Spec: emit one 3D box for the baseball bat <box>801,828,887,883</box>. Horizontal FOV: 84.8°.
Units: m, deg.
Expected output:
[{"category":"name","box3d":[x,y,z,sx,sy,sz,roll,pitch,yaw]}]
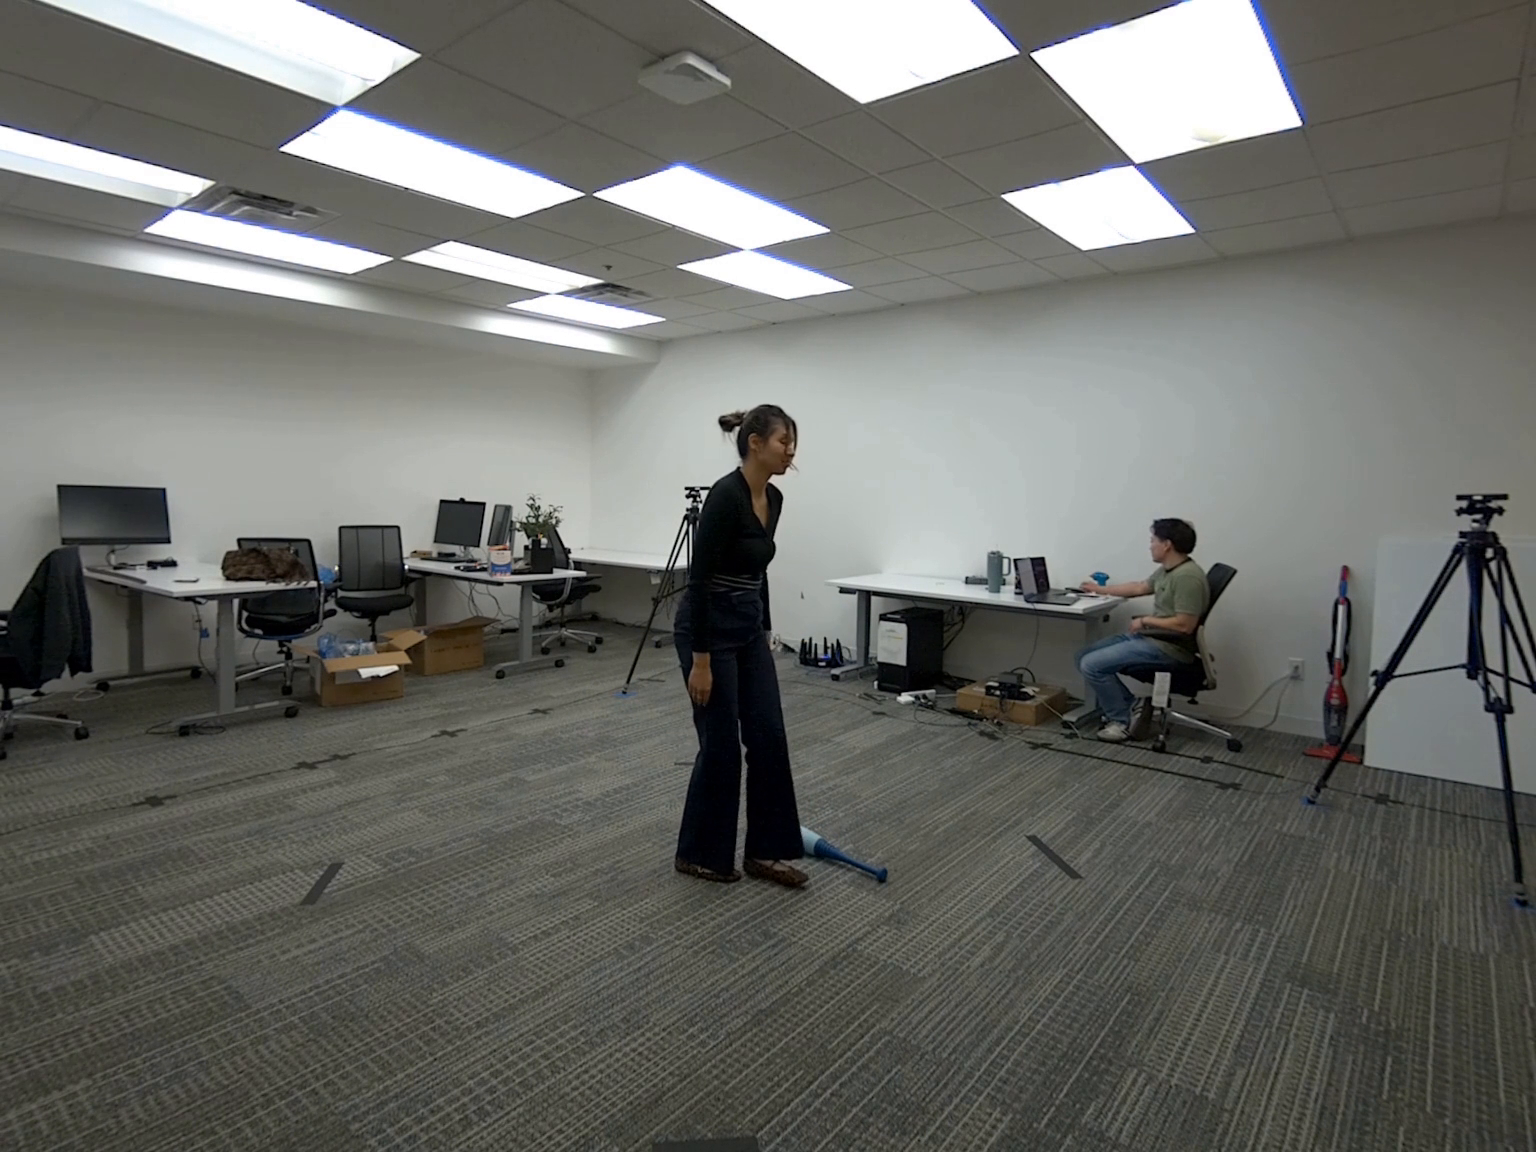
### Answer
[{"category":"baseball bat","box3d":[0.203,1.028,3.207,0.563,0.088,0.086,10,9,42]}]
